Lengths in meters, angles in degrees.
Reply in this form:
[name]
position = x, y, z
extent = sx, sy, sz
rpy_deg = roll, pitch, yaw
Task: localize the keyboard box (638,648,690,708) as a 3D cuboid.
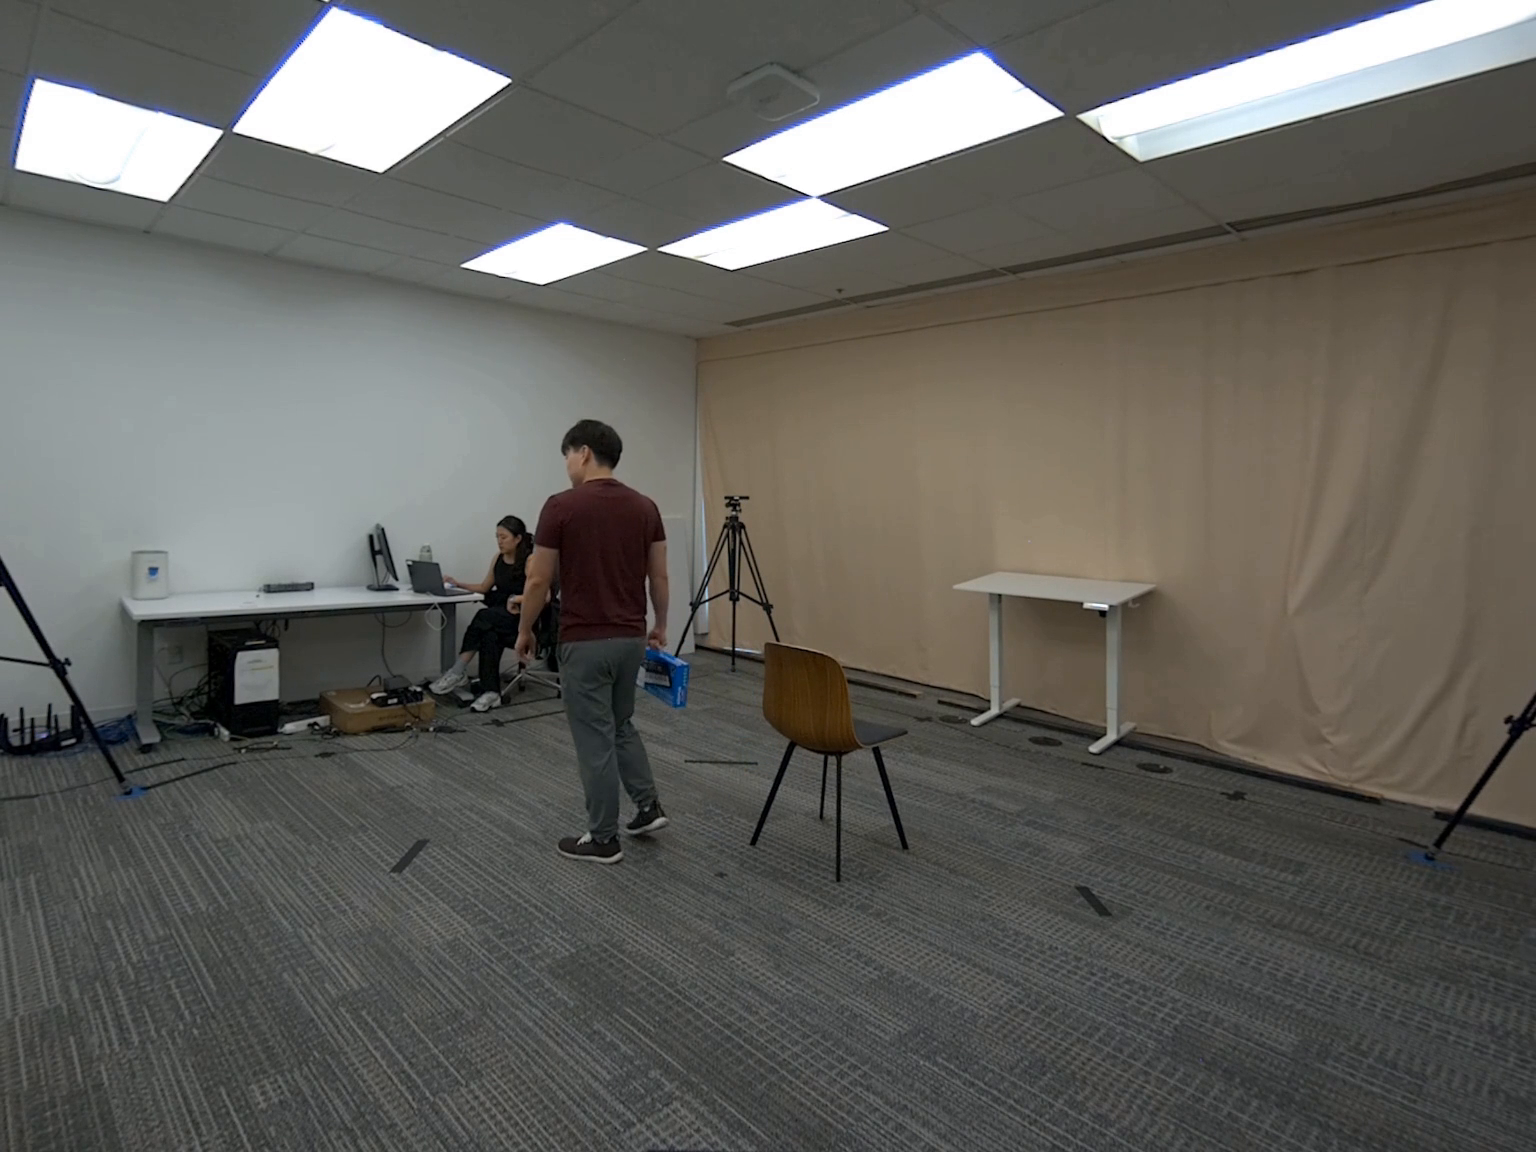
[keyboard box]
position = -0.481, 0.398, 3.476
extent = 0.058, 0.175, 0.449
rpy_deg = 1, 9, -36
